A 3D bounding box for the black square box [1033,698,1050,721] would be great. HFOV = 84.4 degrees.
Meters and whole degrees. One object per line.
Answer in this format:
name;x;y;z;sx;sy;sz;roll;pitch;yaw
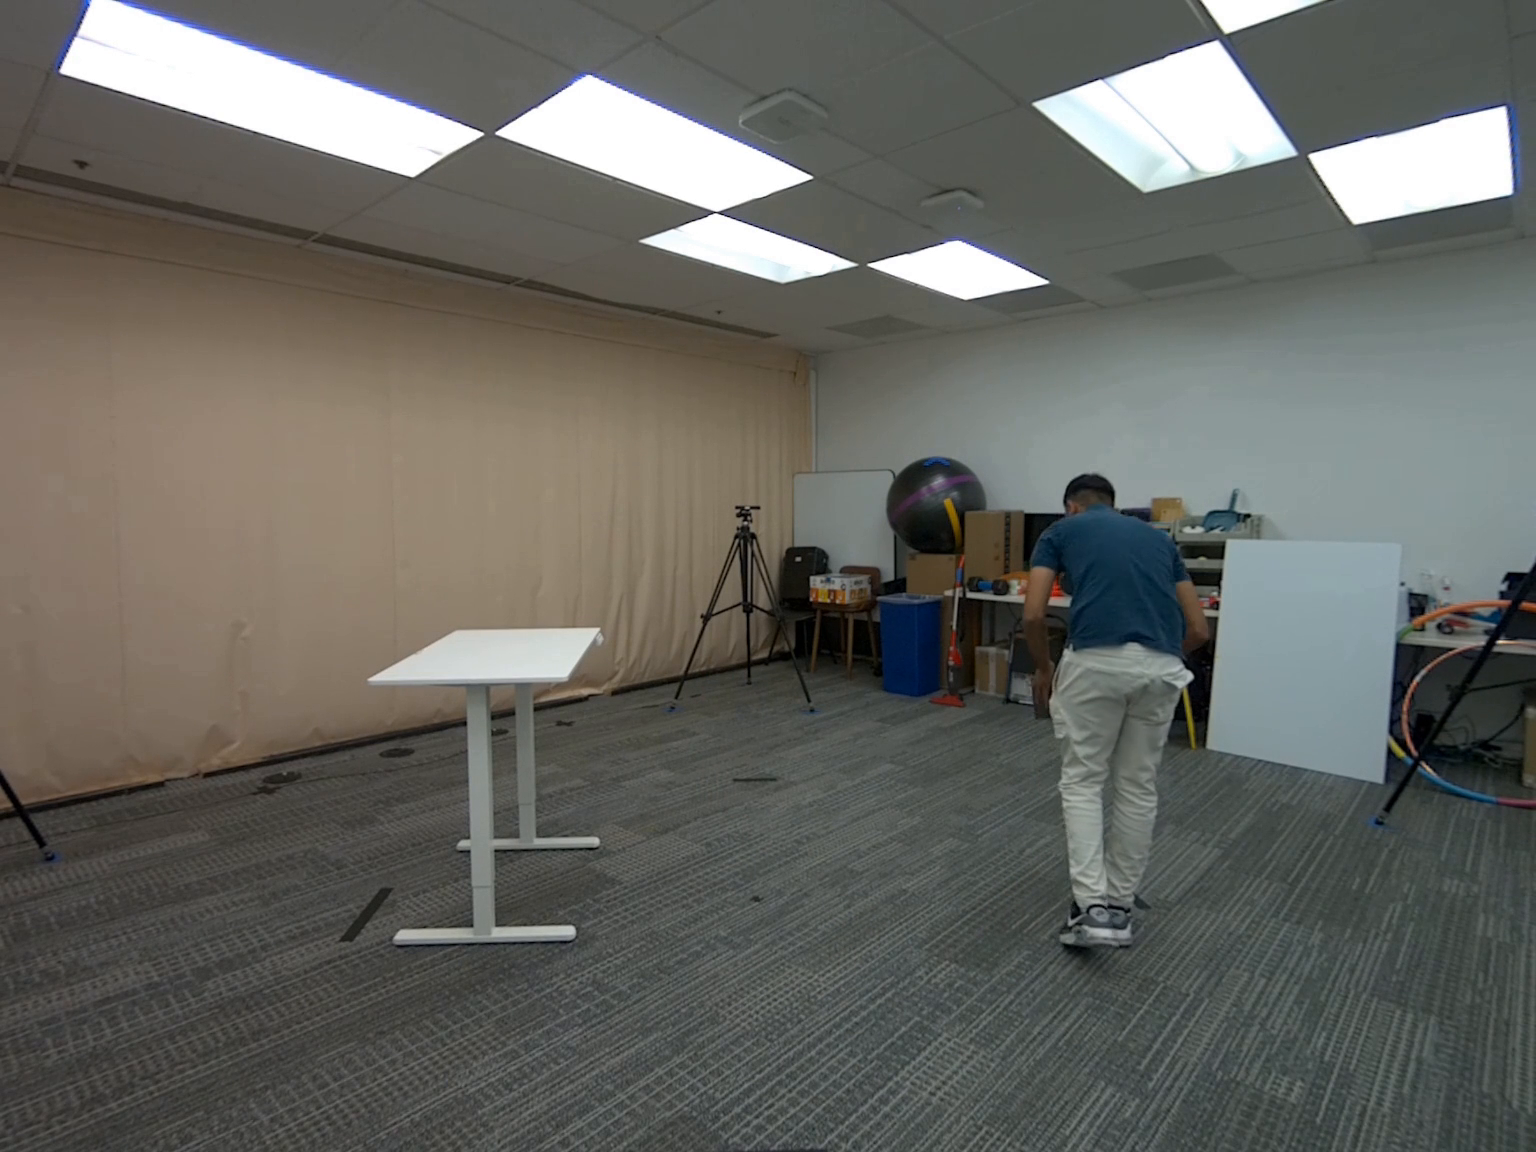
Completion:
black square box;1.131;0.456;3.100;0.217;0.157;0.226;0;-9;-1
